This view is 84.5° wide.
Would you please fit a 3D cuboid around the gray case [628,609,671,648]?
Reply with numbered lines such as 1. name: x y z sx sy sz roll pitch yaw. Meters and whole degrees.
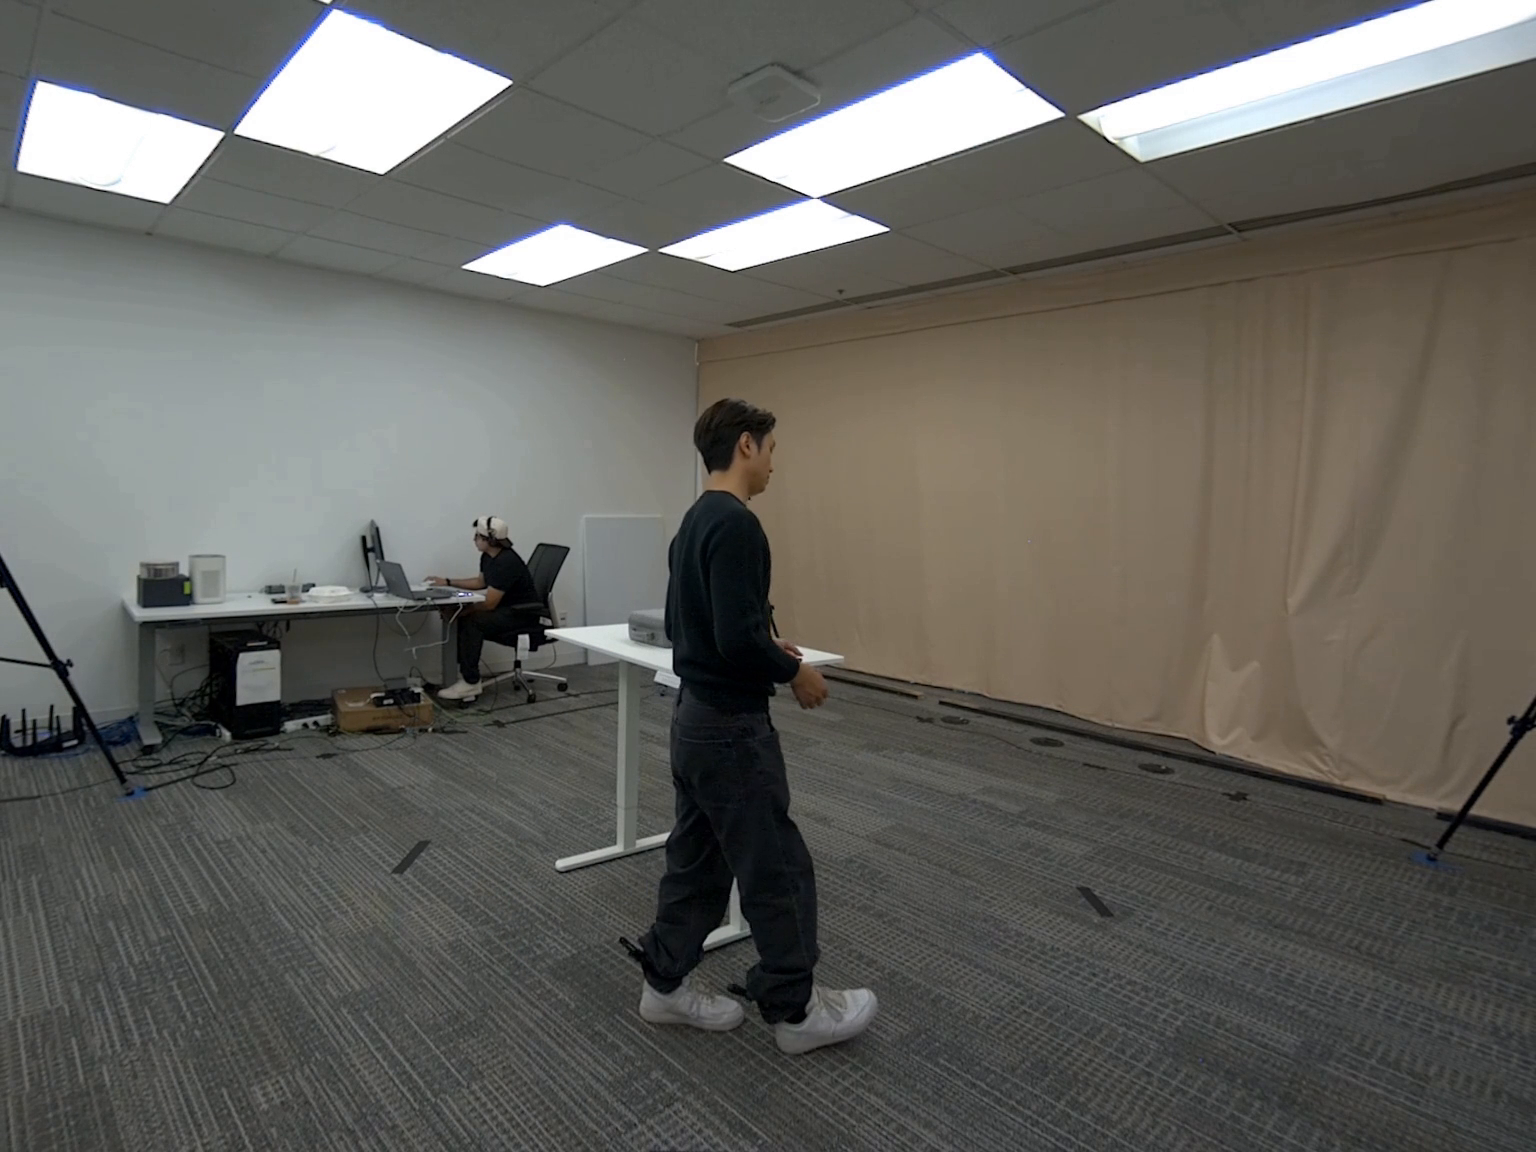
1. gray case: -0.336 0.179 2.966 0.255 0.104 0.263 -3 7 -41
